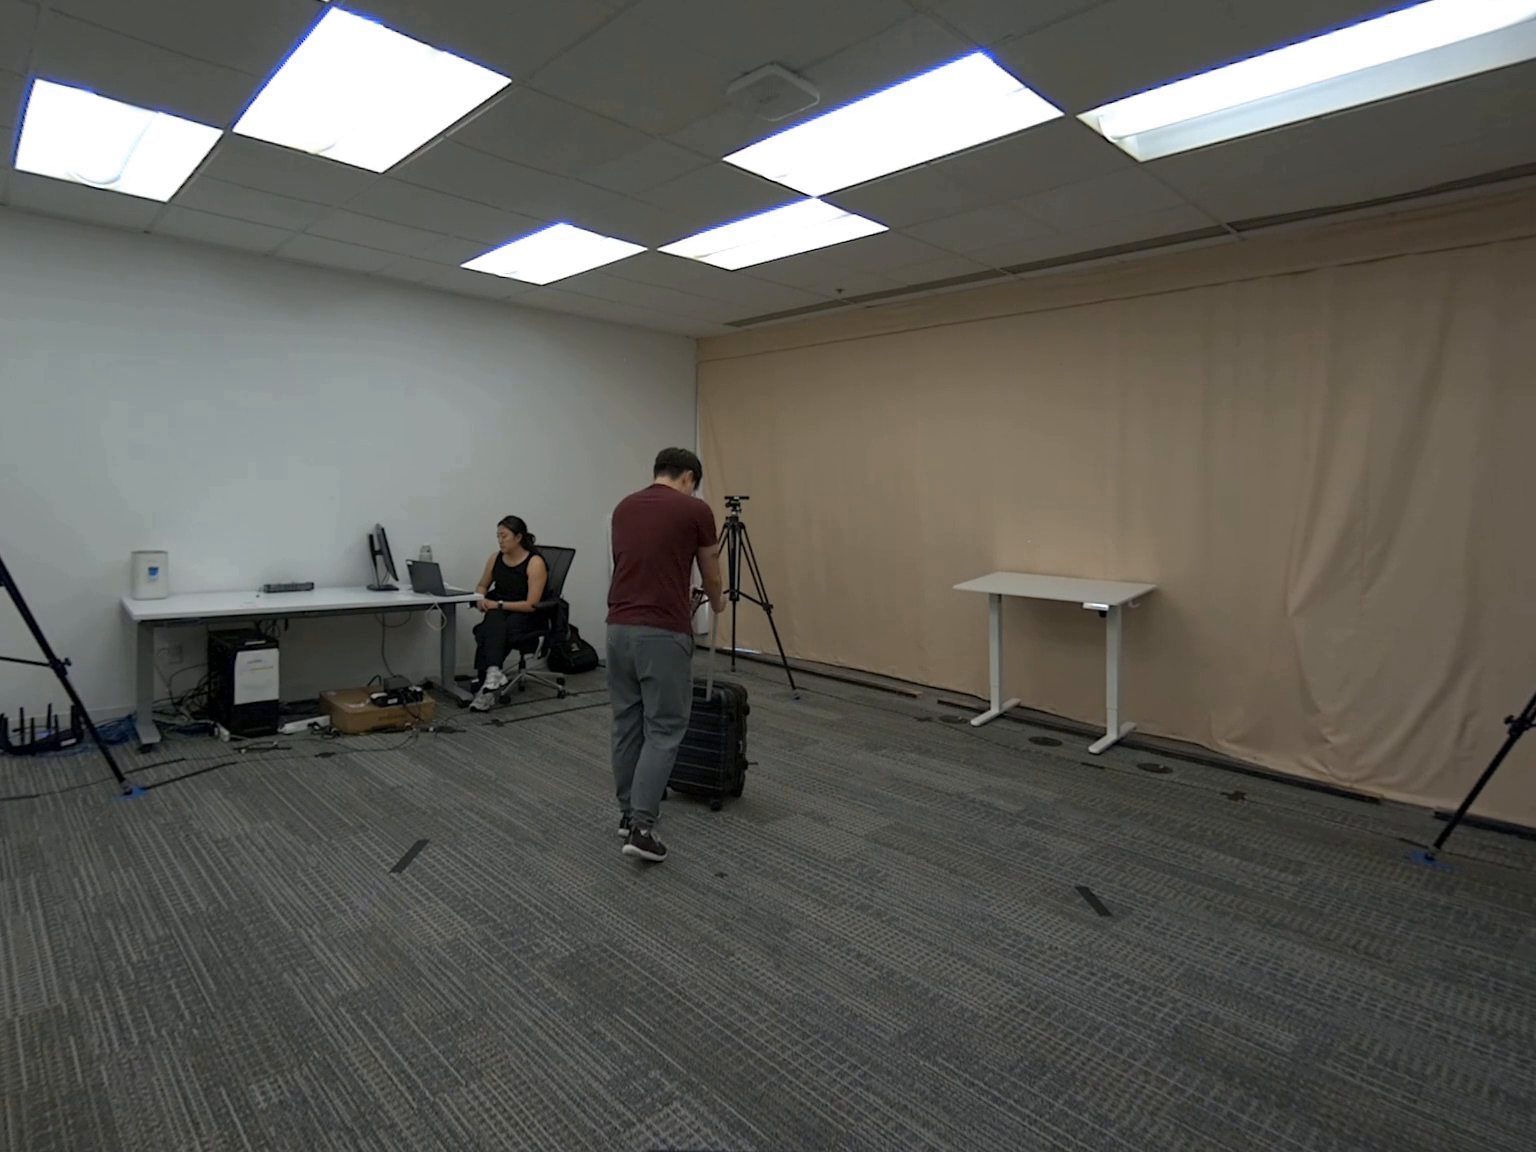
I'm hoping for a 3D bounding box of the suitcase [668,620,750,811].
[{"bbox_3d":[-0.286,0.555,3.907,0.392,0.977,0.252,5,2,25],"label":"suitcase"}]
